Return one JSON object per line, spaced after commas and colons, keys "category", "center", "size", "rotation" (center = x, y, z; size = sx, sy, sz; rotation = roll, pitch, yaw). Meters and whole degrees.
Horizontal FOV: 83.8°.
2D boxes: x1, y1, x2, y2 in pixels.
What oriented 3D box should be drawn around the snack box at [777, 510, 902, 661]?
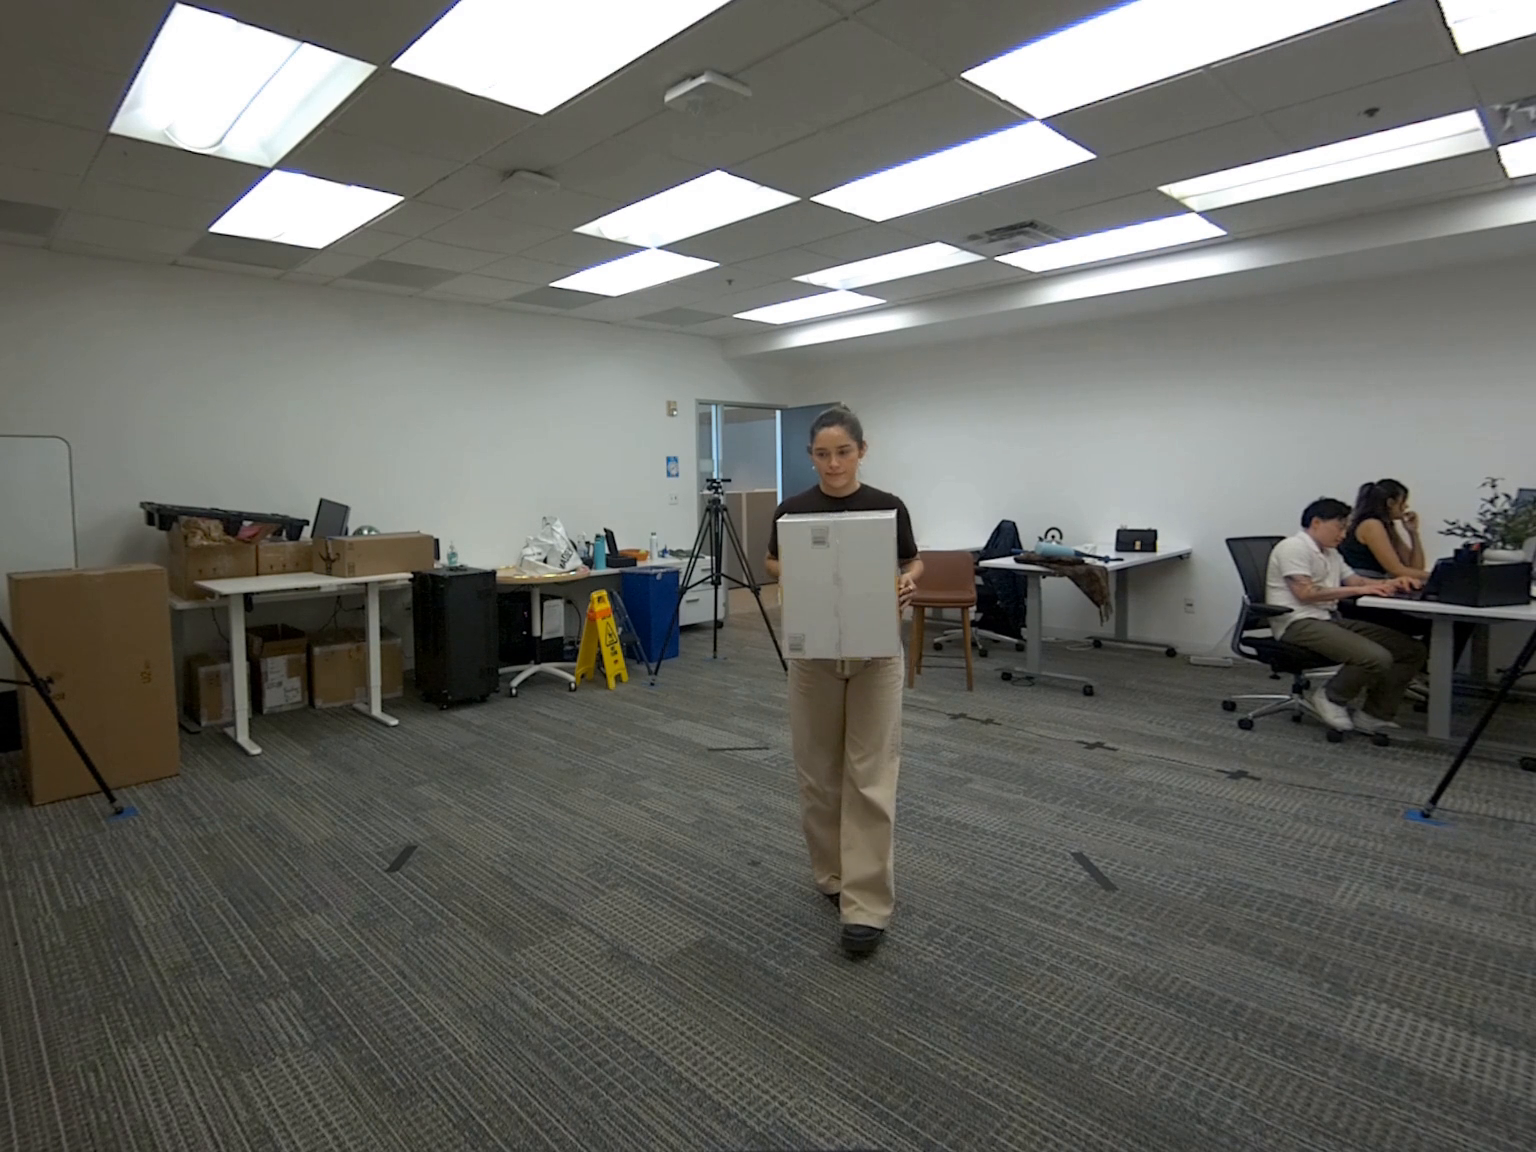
{"category": "snack box", "center": [0.214, 0.022, 2.506], "size": [0.344, 0.402, 0.205], "rotation": [-2, 7, 11]}
